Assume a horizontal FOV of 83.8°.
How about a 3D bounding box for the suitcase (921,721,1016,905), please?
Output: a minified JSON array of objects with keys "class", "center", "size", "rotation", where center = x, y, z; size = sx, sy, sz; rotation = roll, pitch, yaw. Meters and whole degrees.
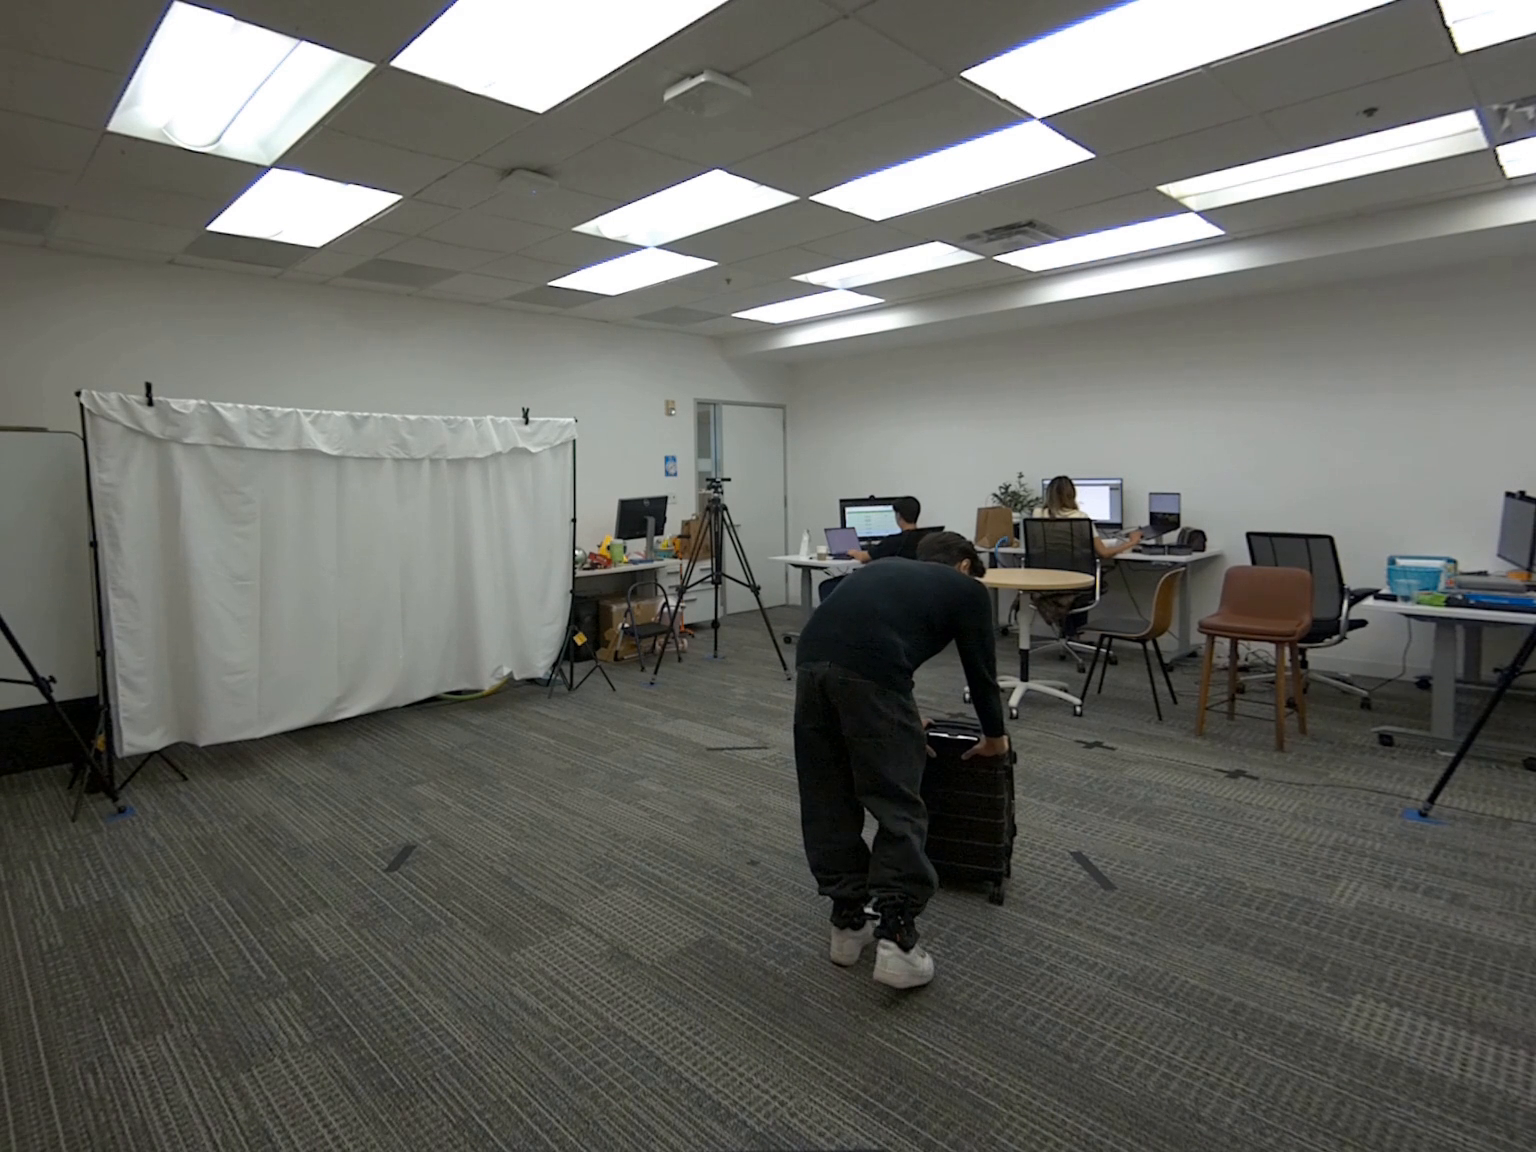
[{"class":"suitcase","center":[0.659,0.772,2.951],"size":[0.384,0.548,0.243],"rotation":[1,3,24]}]
